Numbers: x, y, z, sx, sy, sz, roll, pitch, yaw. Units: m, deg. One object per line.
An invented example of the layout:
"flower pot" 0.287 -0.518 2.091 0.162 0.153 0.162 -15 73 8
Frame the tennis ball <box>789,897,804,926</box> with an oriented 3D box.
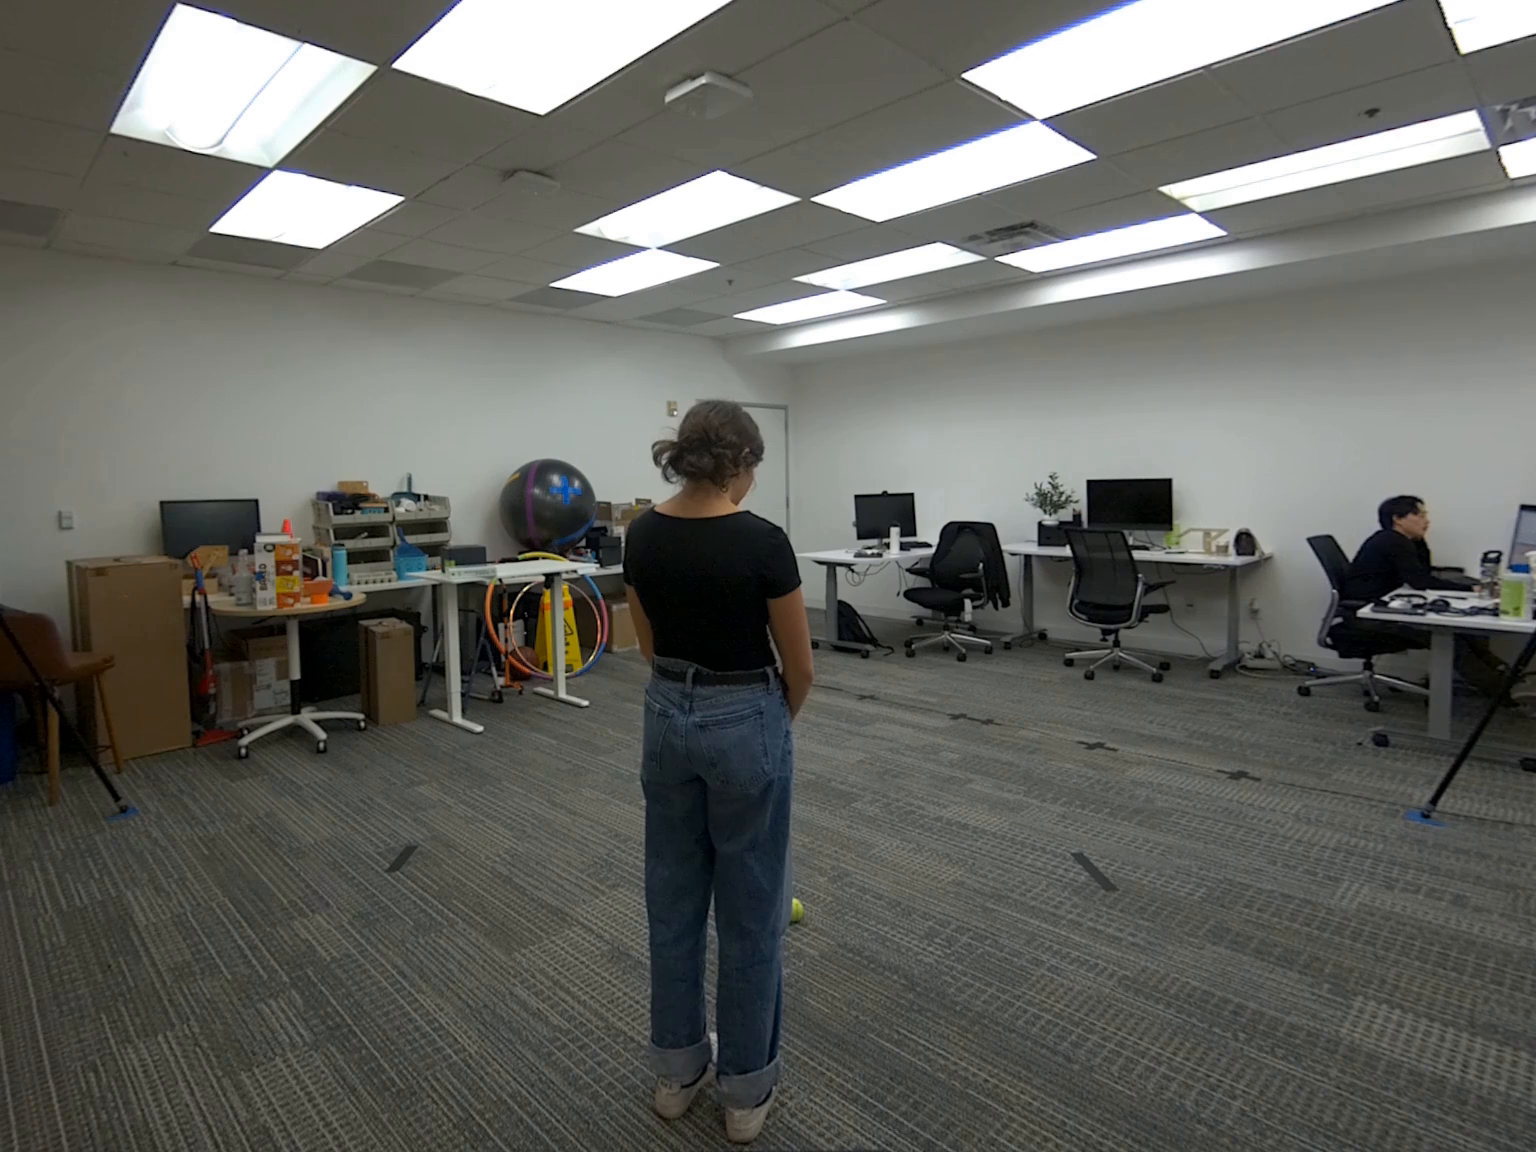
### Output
"tennis ball" 0.091 1.043 2.693 0.066 0.066 0.067 -1 5 -2
